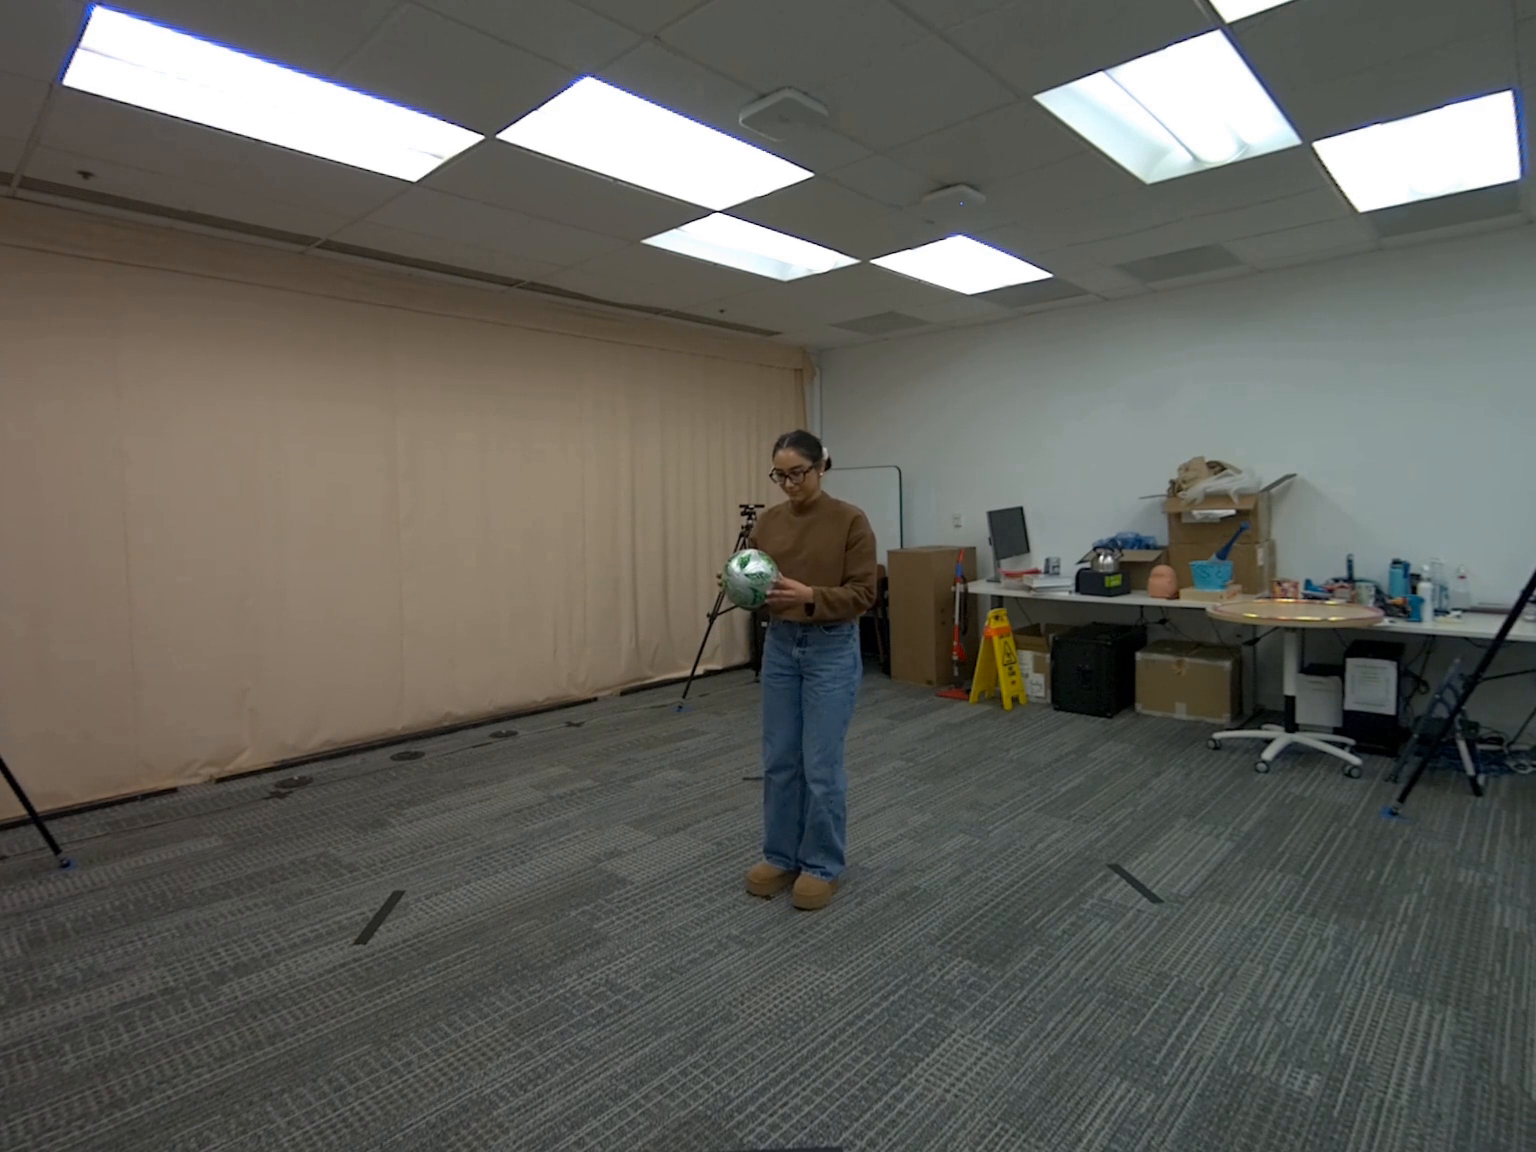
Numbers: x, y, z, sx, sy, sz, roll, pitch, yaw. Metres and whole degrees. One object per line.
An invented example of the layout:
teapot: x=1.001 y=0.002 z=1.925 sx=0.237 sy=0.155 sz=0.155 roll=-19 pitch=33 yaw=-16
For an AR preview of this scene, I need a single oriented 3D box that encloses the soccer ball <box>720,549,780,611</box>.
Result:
soccer ball: x=-0.058 y=0.007 z=2.702 sx=0.187 sy=0.187 sz=0.188 roll=-1 pitch=4 yaw=-2
